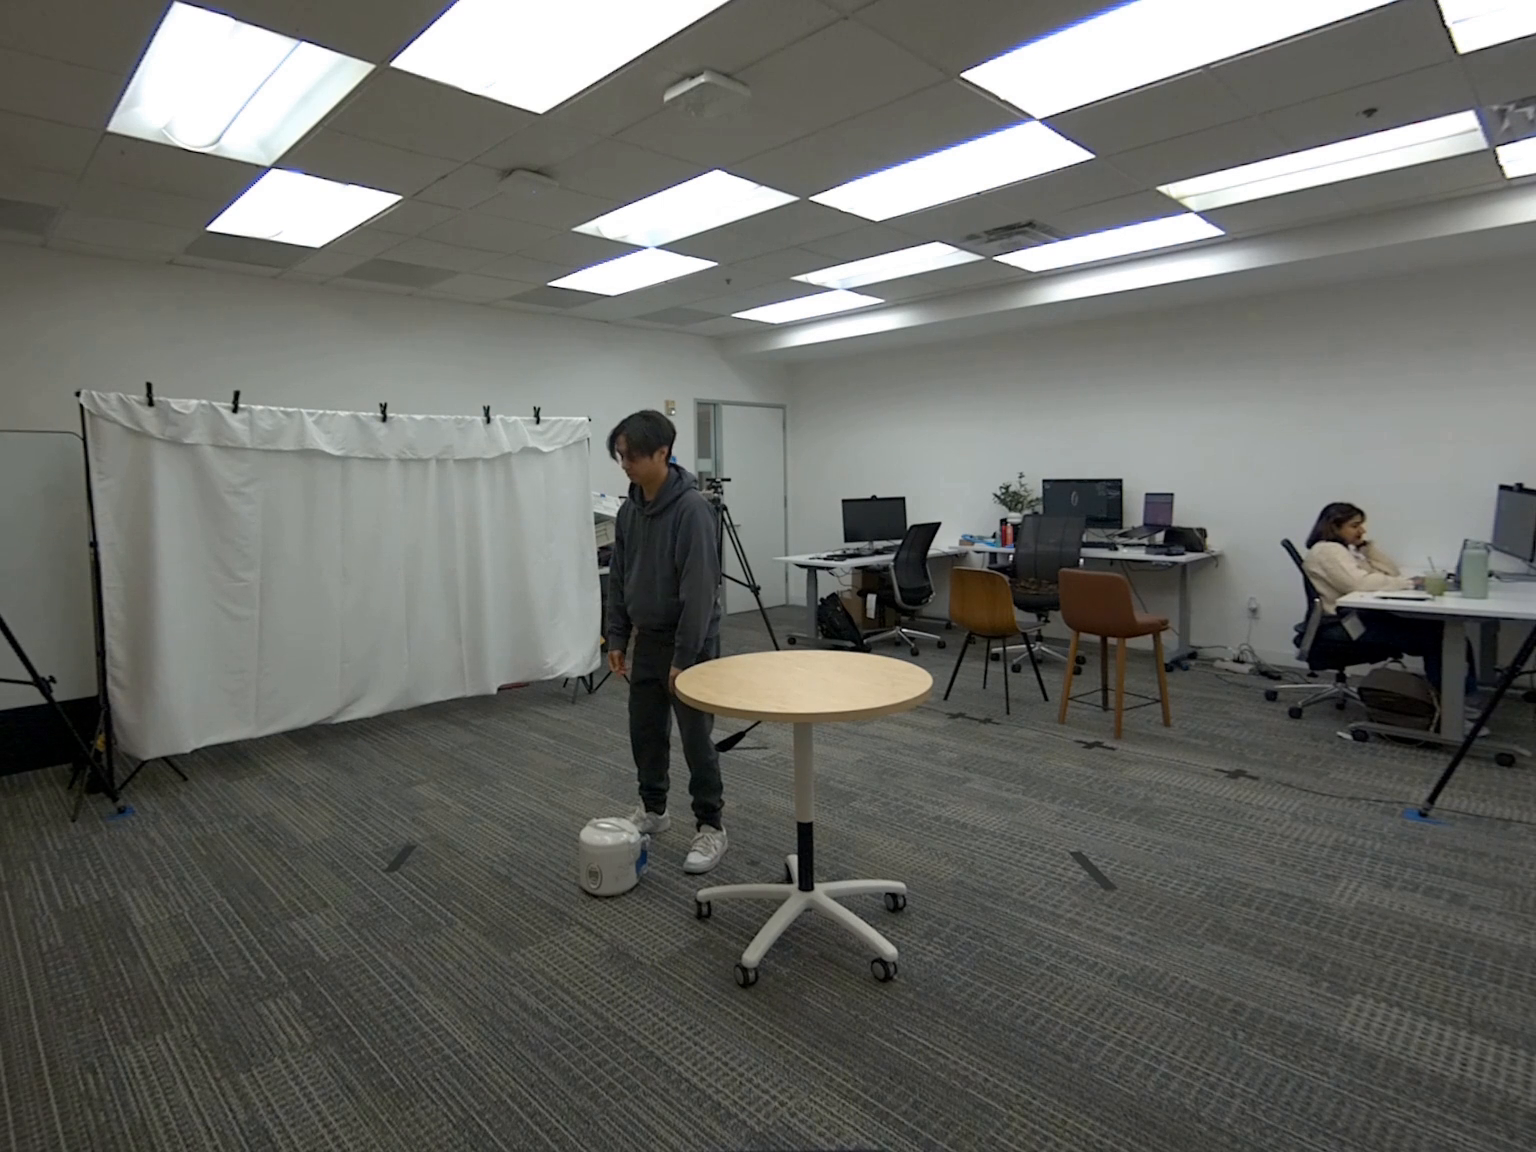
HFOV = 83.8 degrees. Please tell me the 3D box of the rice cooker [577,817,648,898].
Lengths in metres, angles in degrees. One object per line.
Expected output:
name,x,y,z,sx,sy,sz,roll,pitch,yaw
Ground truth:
rice cooker,-0.544,0.959,2.944,0.225,0.232,0.214,1,5,22
